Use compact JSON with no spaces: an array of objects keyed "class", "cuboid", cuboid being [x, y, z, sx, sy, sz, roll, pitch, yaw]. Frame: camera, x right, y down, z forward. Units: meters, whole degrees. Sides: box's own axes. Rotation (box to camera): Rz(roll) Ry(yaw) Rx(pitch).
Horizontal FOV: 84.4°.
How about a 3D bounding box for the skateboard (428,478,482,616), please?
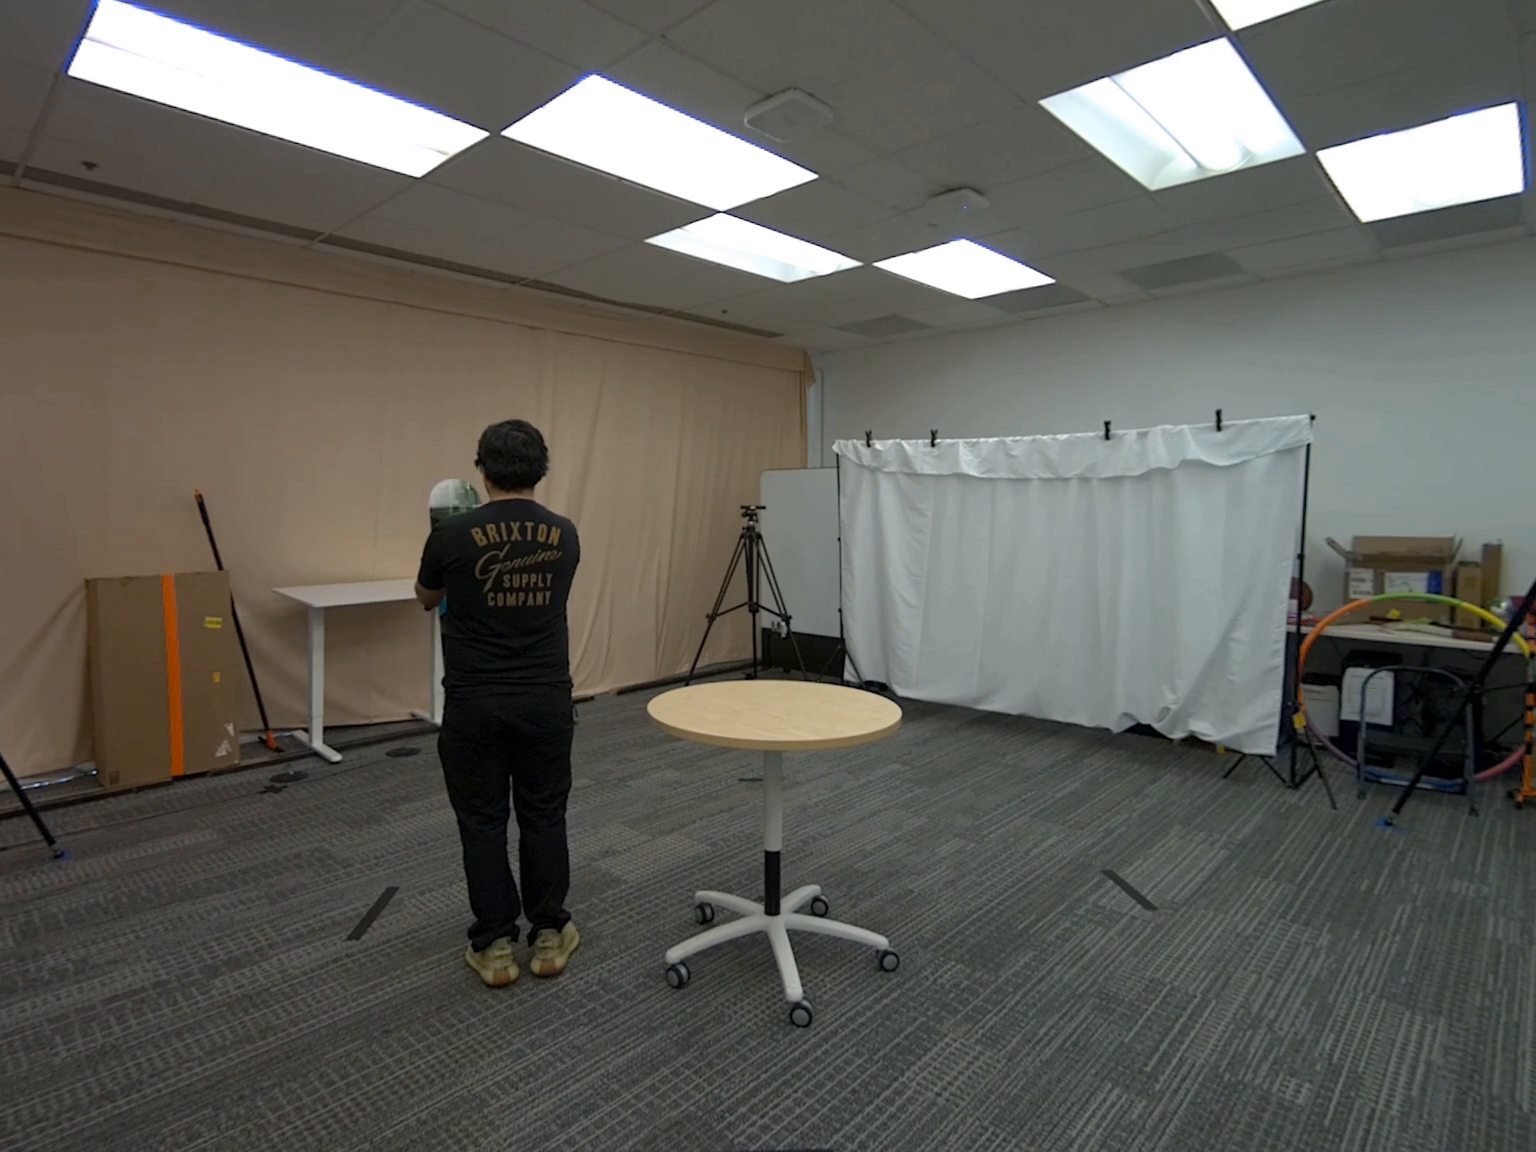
[{"class":"skateboard","cuboid":[-1.050,0.046,2.914,0.188,0.788,0.113,-3,-5,-34]}]
